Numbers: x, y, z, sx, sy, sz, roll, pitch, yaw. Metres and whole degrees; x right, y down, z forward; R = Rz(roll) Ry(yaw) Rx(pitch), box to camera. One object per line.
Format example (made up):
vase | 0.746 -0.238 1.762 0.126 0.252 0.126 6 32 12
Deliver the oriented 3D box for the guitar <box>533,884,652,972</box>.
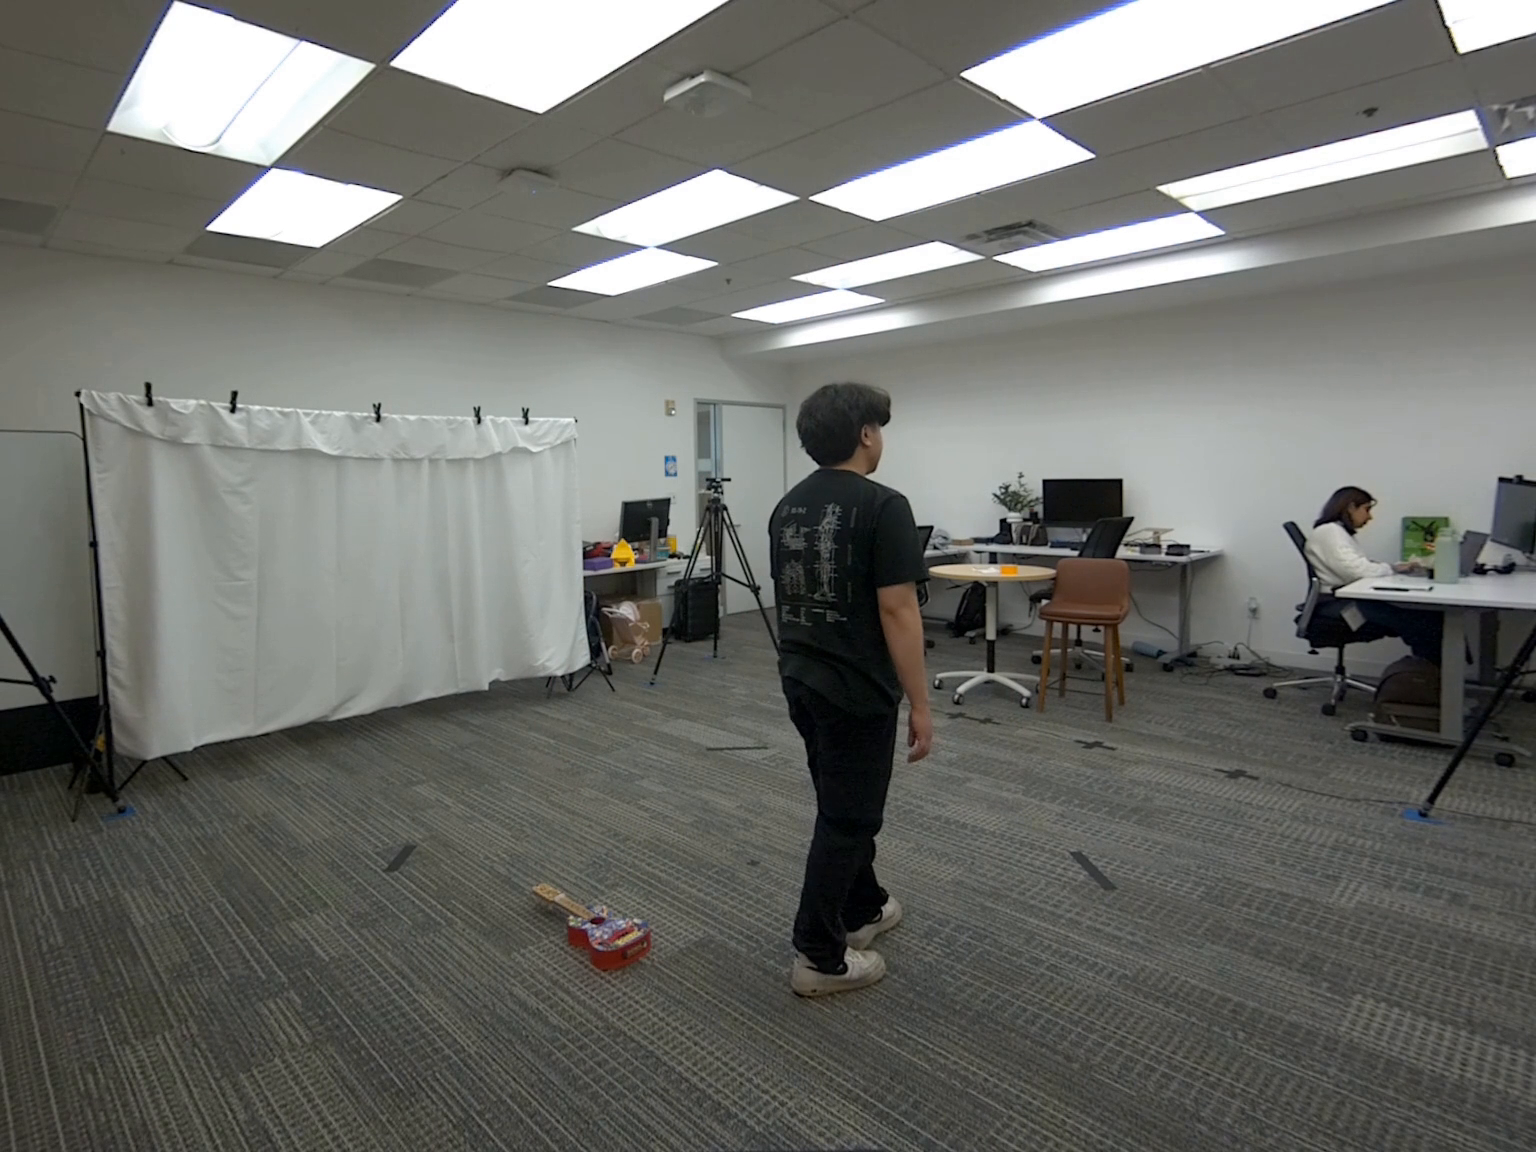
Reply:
guitar | -0.545 1.069 2.668 0.188 0.070 0.514 -7 10 -39
